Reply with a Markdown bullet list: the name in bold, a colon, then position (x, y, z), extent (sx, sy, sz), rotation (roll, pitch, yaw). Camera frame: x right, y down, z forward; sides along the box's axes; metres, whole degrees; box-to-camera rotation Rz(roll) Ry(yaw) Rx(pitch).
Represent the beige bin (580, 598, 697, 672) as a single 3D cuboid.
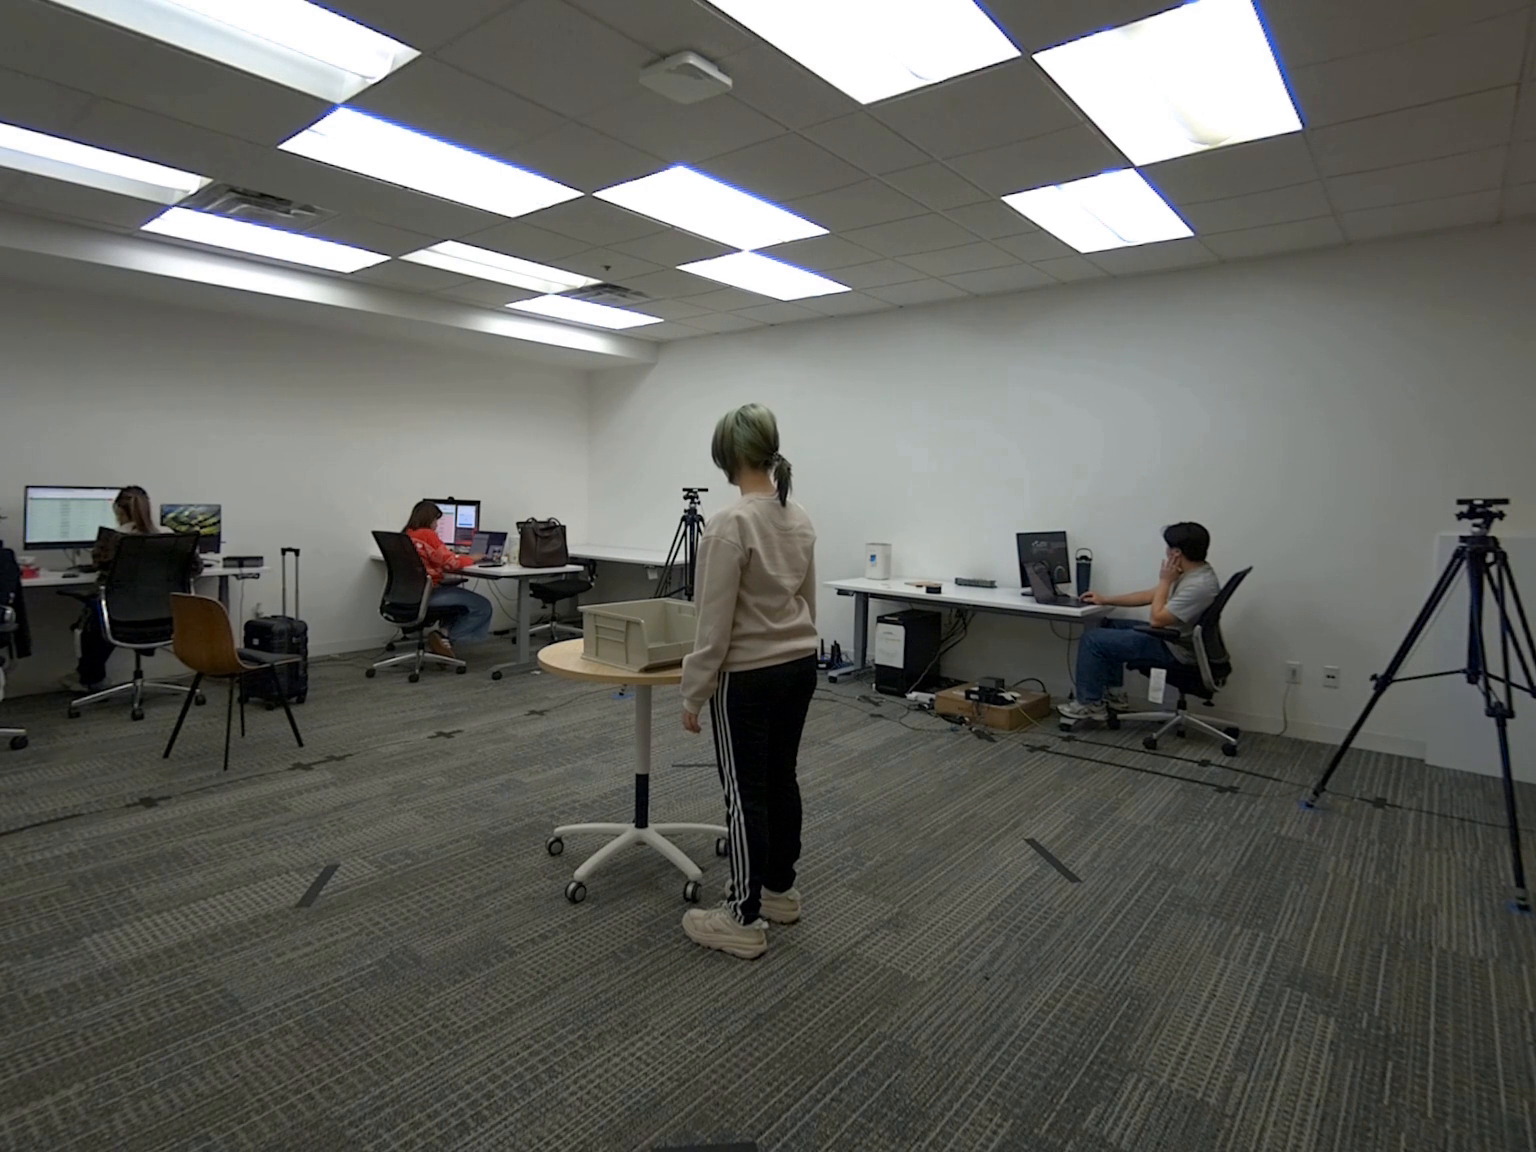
- **beige bin**: position (-0.401, 0.203, 3.019), extent (0.390, 0.188, 0.410), rotation (5, 7, 43)
